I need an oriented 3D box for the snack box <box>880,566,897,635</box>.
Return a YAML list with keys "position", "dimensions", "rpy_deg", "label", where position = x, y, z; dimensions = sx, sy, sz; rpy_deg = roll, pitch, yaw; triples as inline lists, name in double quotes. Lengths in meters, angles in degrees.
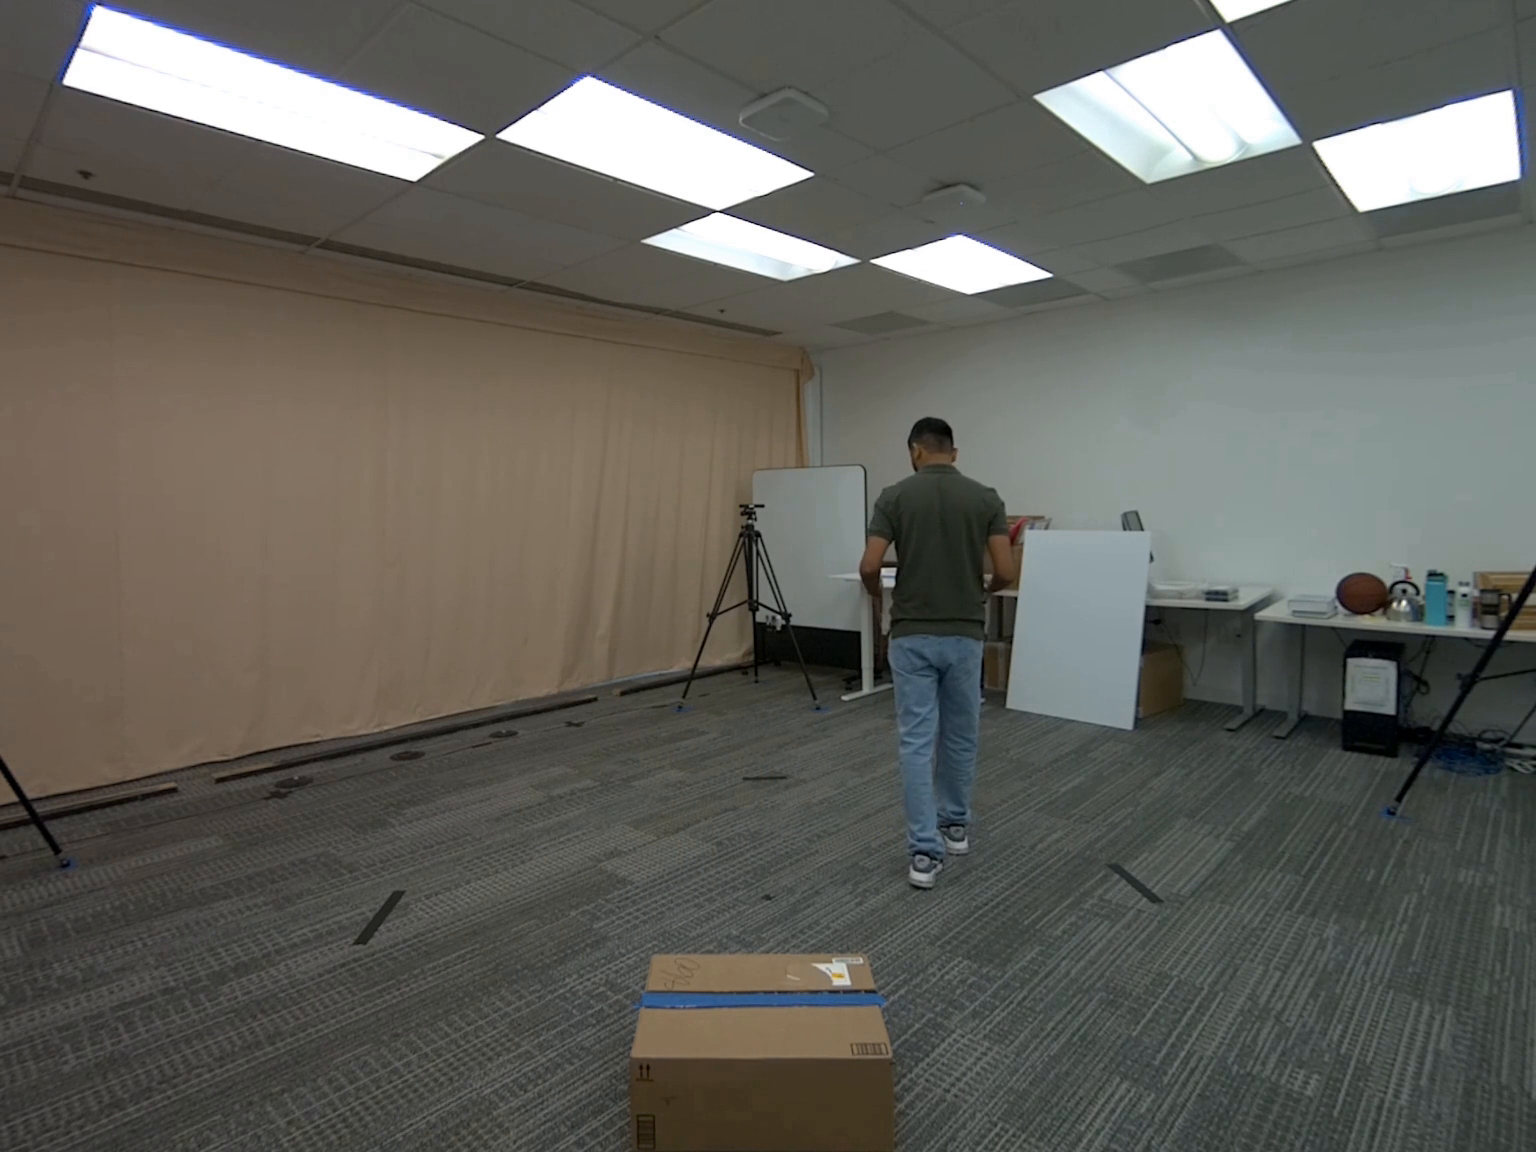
- position: [0.678, 0.097, 3.512]
  dimensions: [0.409, 0.204, 0.340]
  rpy_deg: [-1, 13, 8]
  label: "snack box"
